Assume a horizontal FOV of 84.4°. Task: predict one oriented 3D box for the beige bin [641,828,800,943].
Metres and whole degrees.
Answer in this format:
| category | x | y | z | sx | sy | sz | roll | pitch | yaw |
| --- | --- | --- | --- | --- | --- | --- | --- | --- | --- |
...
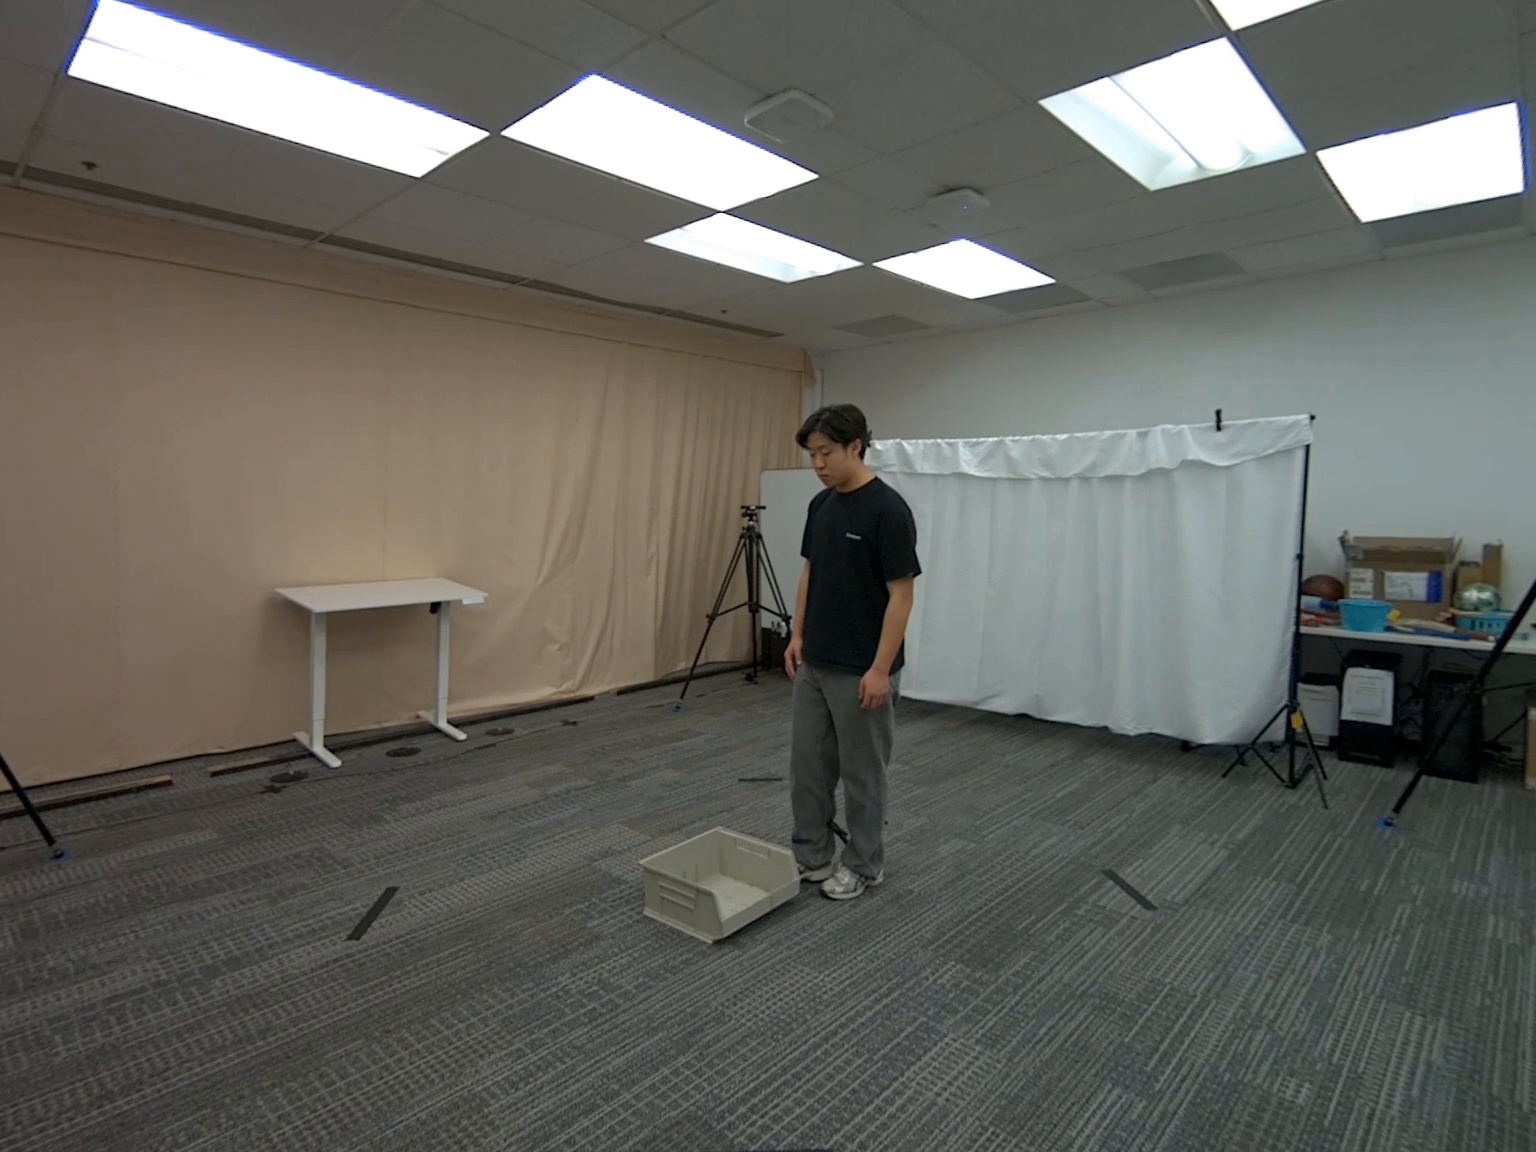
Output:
| category | x | y | z | sx | sy | sz | roll | pitch | yaw |
| --- | --- | --- | --- | --- | --- | --- | --- | --- | --- |
| beige bin | -0.161 | 1.061 | 2.916 | 0.389 | 0.188 | 0.410 | 2 | 5 | 39 |
